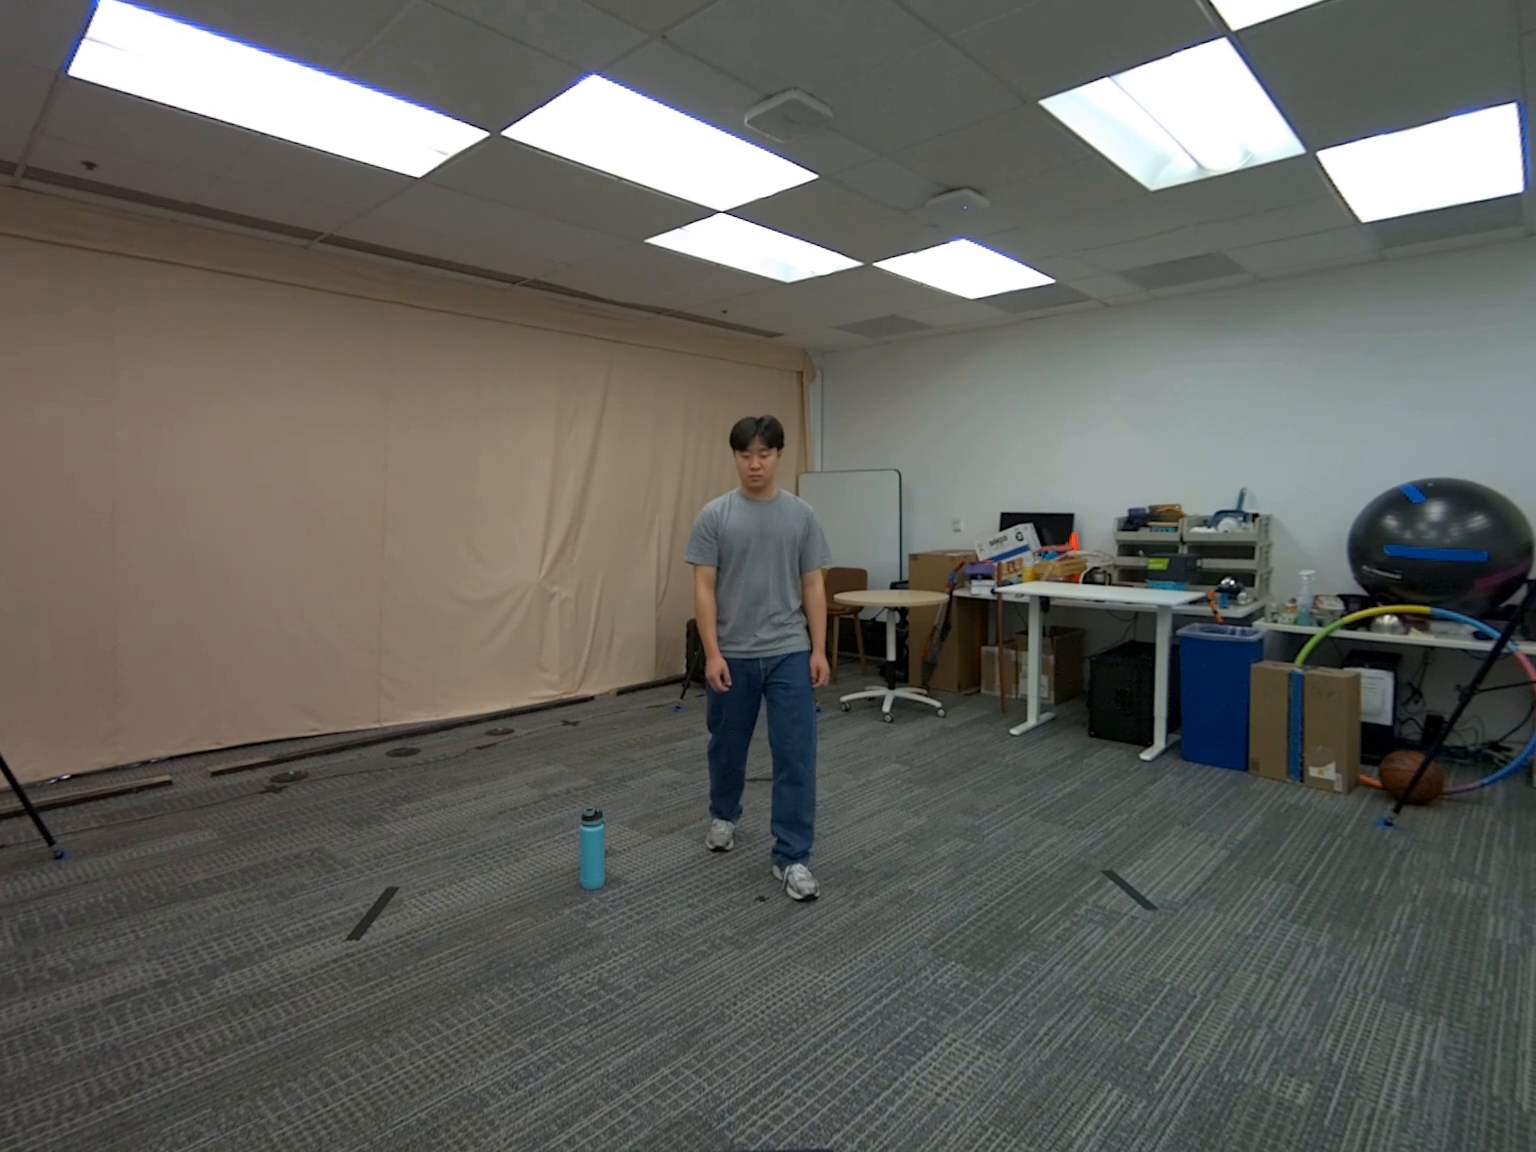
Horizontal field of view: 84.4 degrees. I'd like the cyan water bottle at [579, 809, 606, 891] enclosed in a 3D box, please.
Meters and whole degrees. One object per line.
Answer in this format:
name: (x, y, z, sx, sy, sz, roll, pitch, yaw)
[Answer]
cyan water bottle: (-0.650, 1.004, 3.108, 0.092, 0.283, 0.092, 1, 0, -2)
